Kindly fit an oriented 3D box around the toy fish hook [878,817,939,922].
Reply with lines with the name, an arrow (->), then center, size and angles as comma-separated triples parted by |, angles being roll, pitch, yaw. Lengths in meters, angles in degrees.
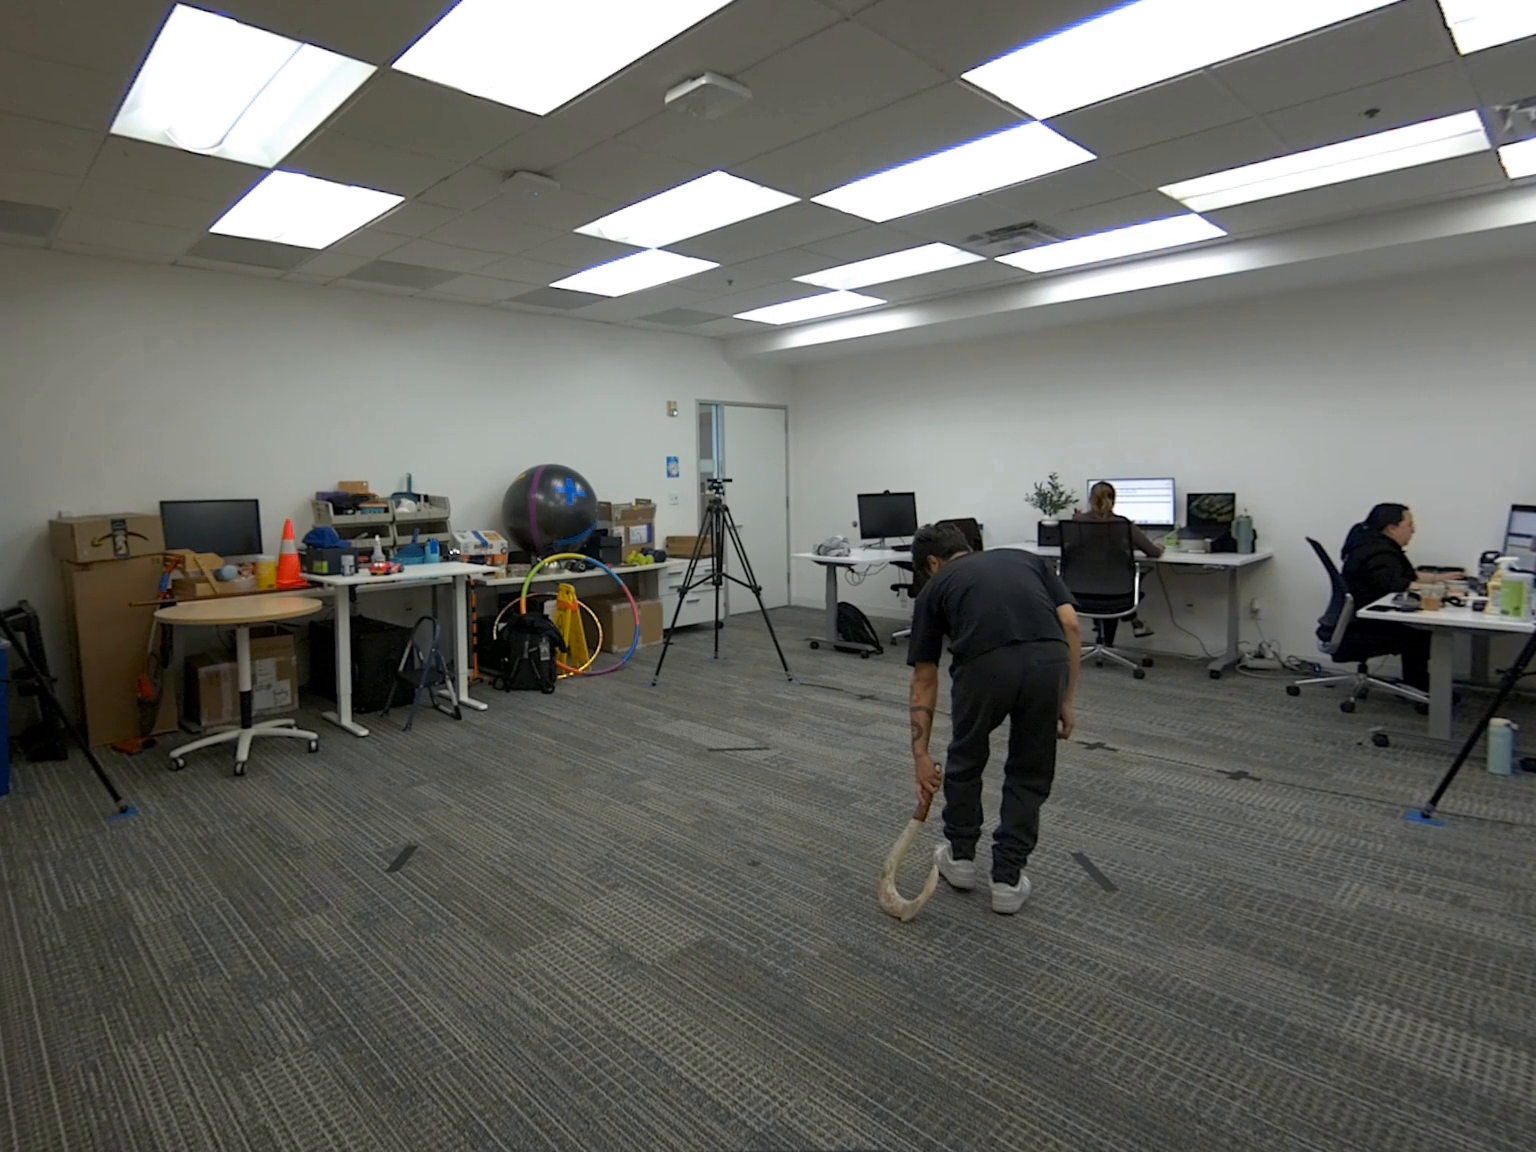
toy fish hook -> 0.509, 0.868, 2.769 | 0.046, 0.510, 0.231 | 35, -19, -36
